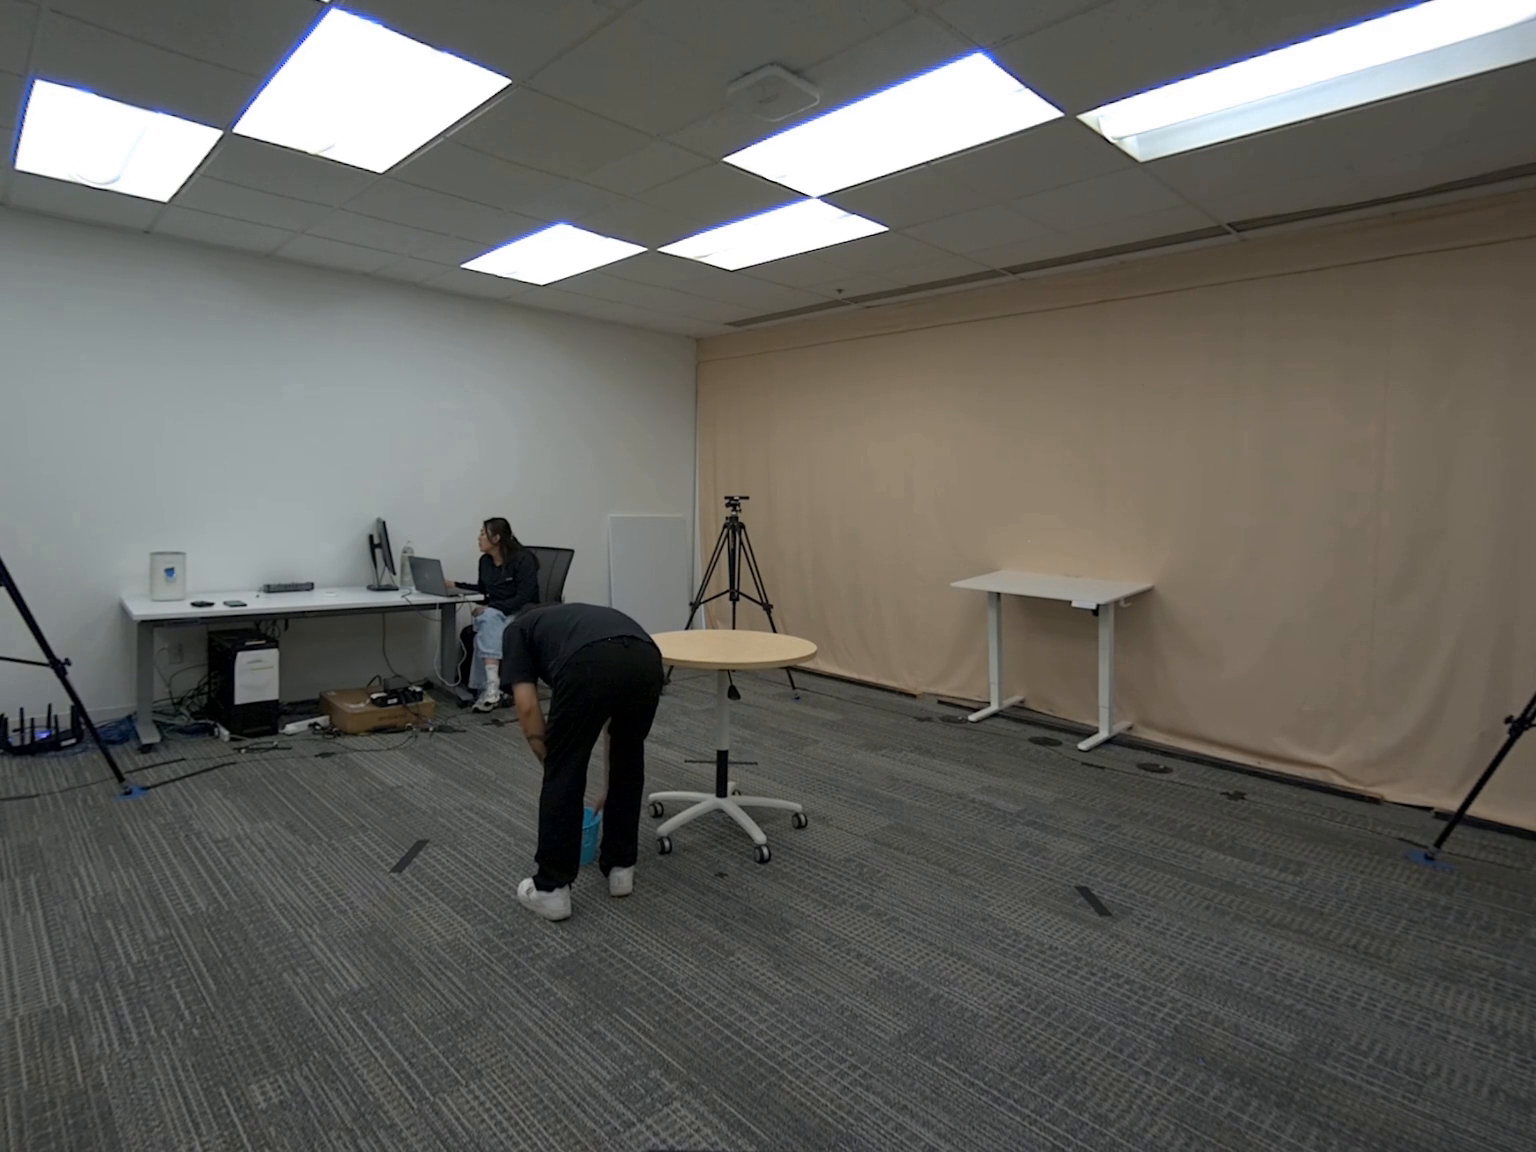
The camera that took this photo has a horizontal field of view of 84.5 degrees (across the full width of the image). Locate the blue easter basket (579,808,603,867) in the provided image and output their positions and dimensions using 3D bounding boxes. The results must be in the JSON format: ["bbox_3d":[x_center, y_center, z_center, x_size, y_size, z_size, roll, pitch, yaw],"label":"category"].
[{"bbox_3d":[-0.758,1.004,3.233,0.243,0.155,0.244,2,5,-2],"label":"blue easter basket"}]
